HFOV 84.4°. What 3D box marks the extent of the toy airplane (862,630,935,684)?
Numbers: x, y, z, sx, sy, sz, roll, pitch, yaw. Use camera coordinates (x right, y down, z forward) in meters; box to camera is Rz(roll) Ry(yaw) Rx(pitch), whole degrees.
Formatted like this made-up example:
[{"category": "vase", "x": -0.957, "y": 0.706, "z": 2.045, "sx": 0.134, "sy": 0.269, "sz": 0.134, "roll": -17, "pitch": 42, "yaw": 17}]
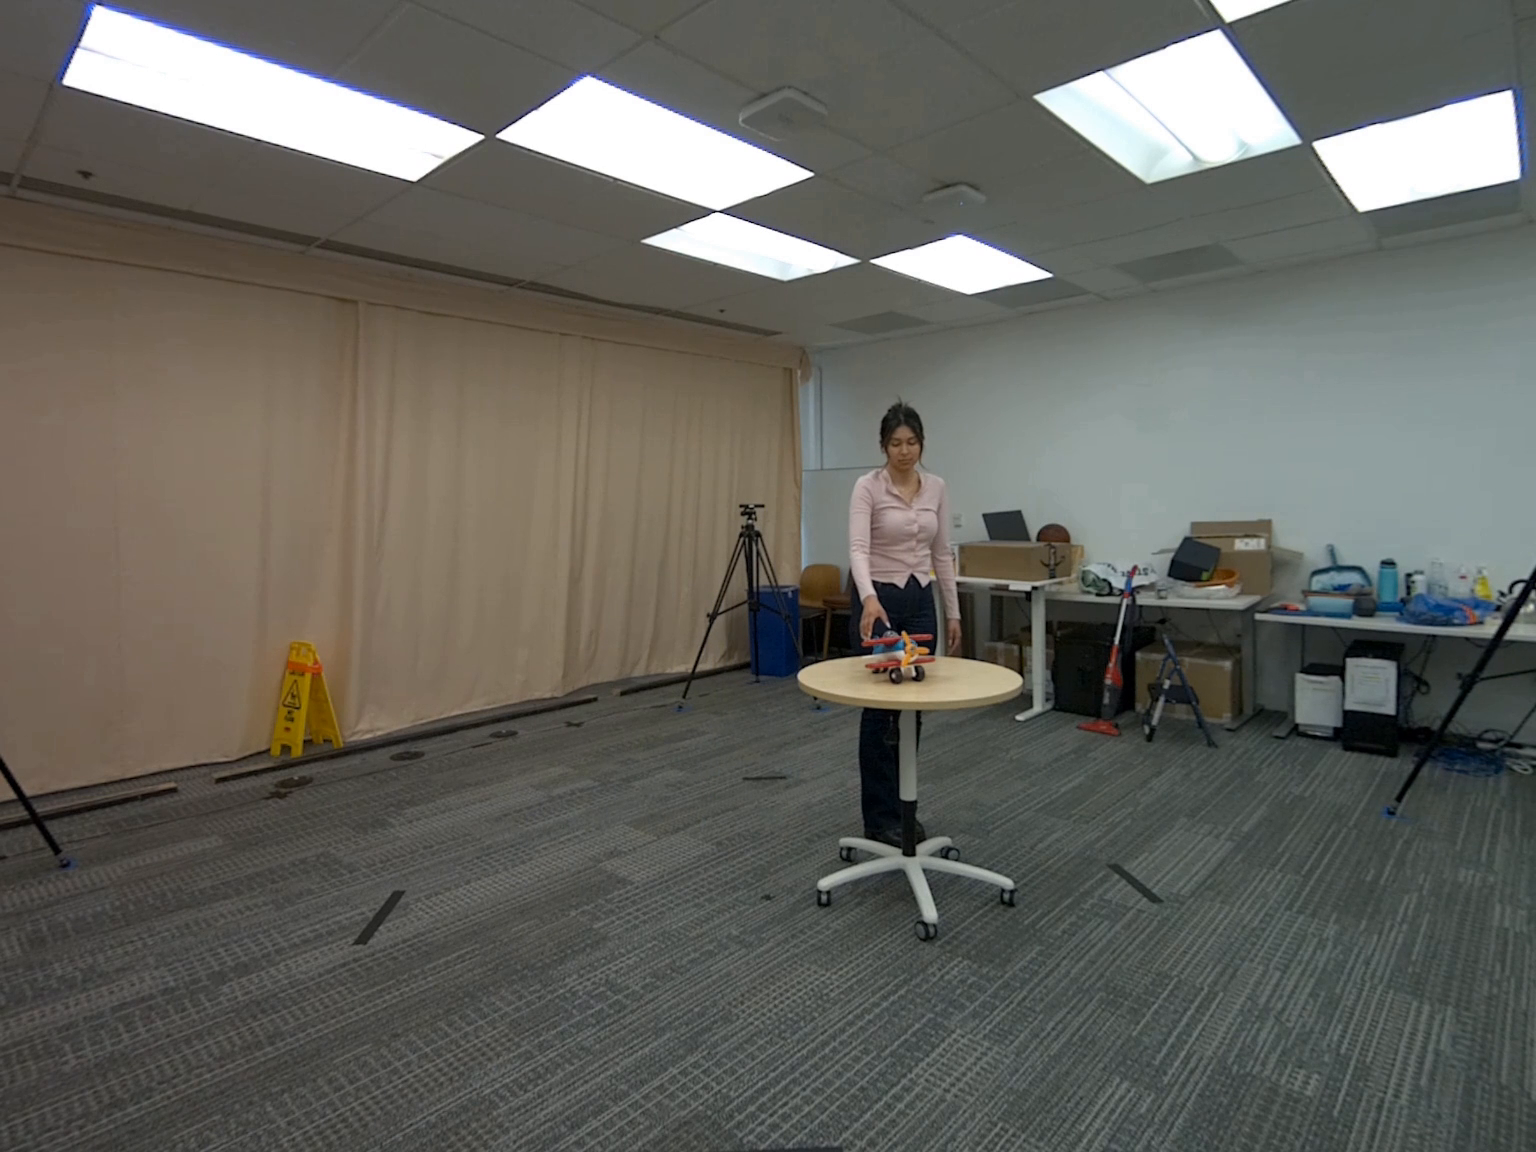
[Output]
[{"category": "toy airplane", "x": 0.414, "y": 0.277, "z": 2.918, "sx": 0.268, "sy": 0.156, "sz": 0.243, "roll": 4, "pitch": 6, "yaw": 42}]
